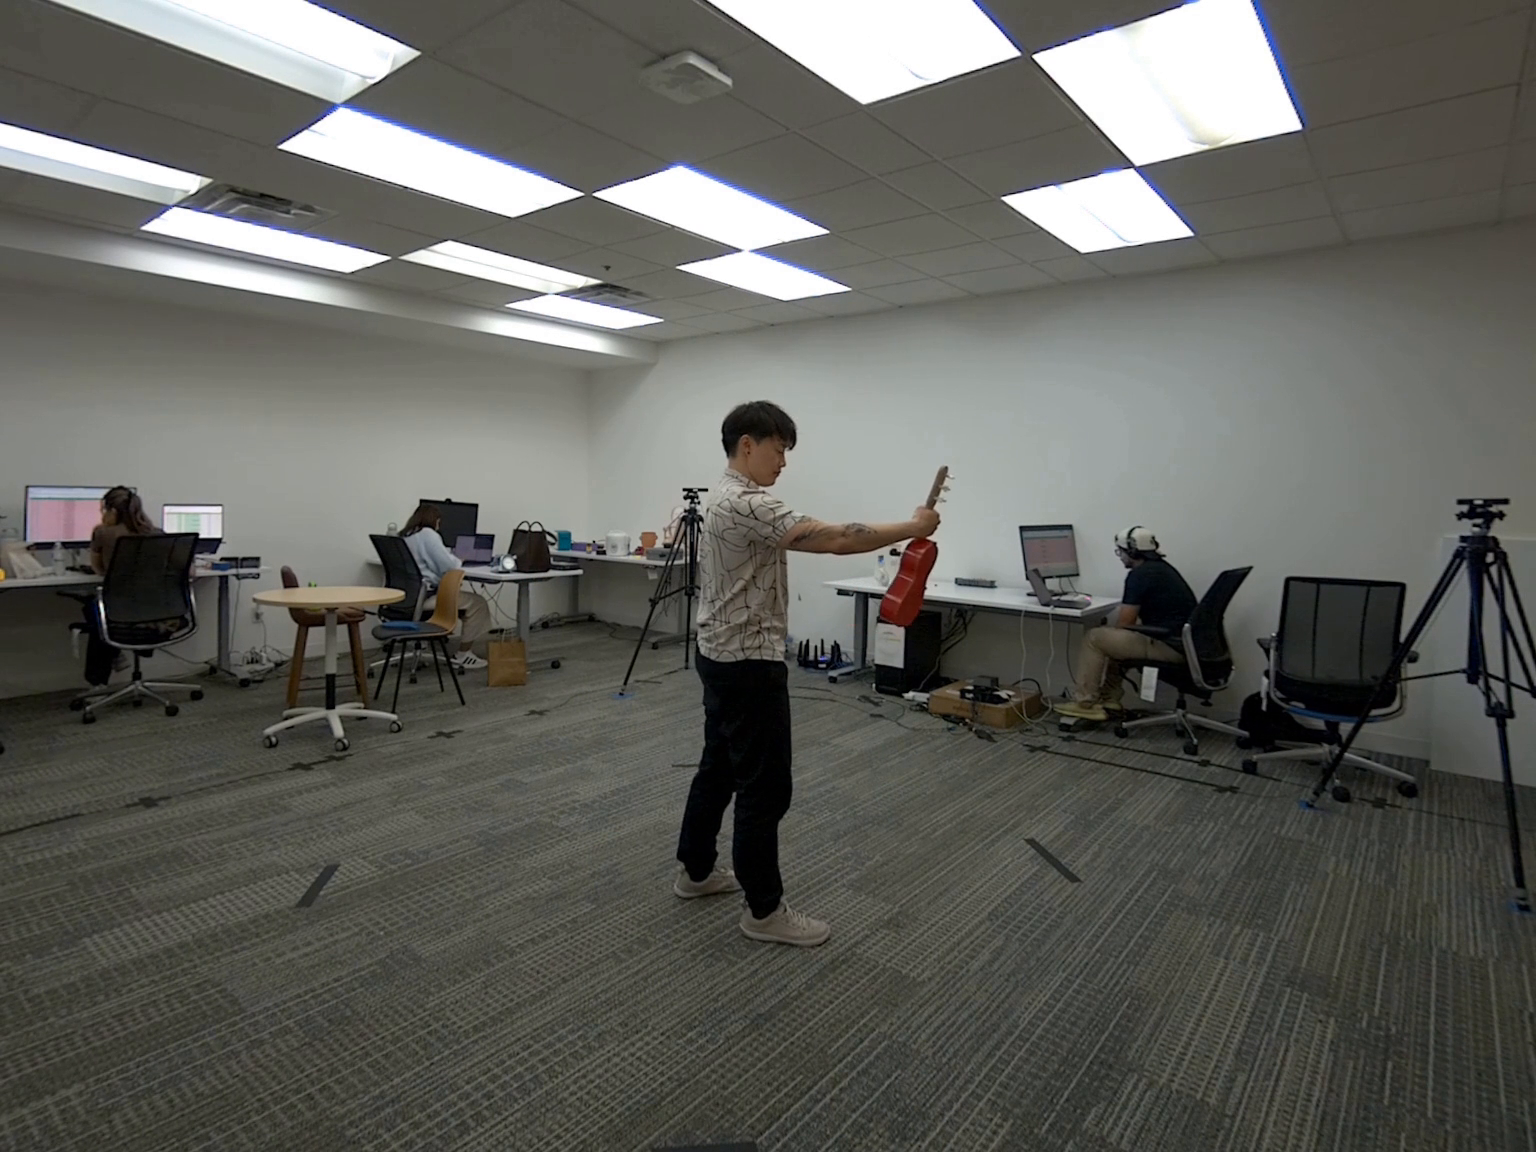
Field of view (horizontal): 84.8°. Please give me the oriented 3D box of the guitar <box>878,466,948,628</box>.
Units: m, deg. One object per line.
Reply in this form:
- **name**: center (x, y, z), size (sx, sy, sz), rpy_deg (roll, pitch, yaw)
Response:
- **guitar**: center (0.445, -0.088, 2.548), size (0.073, 0.492, 0.188), rpy_deg (23, 18, 28)
